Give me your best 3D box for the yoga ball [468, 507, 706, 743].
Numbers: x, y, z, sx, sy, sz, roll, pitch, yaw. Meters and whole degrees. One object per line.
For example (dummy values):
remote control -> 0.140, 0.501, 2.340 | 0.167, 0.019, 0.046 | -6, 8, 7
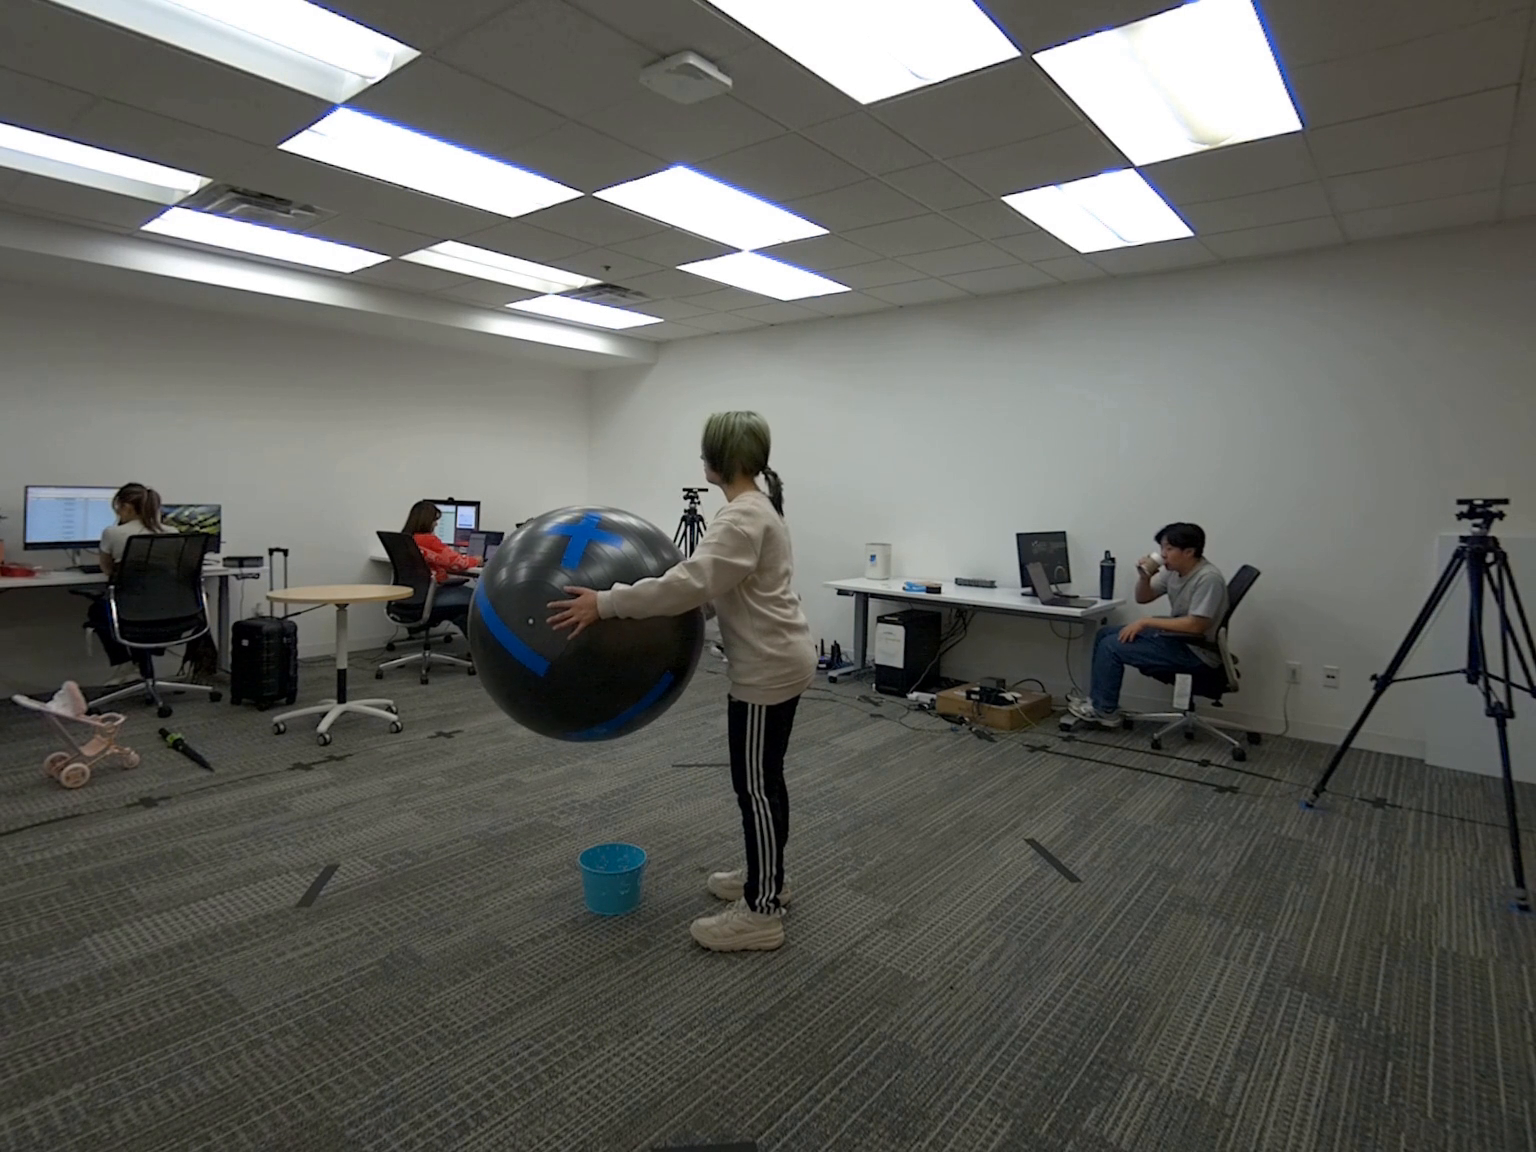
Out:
yoga ball -> -0.589, 0.154, 2.752 | 0.757, 0.756, 0.761 | 1, 4, -2
